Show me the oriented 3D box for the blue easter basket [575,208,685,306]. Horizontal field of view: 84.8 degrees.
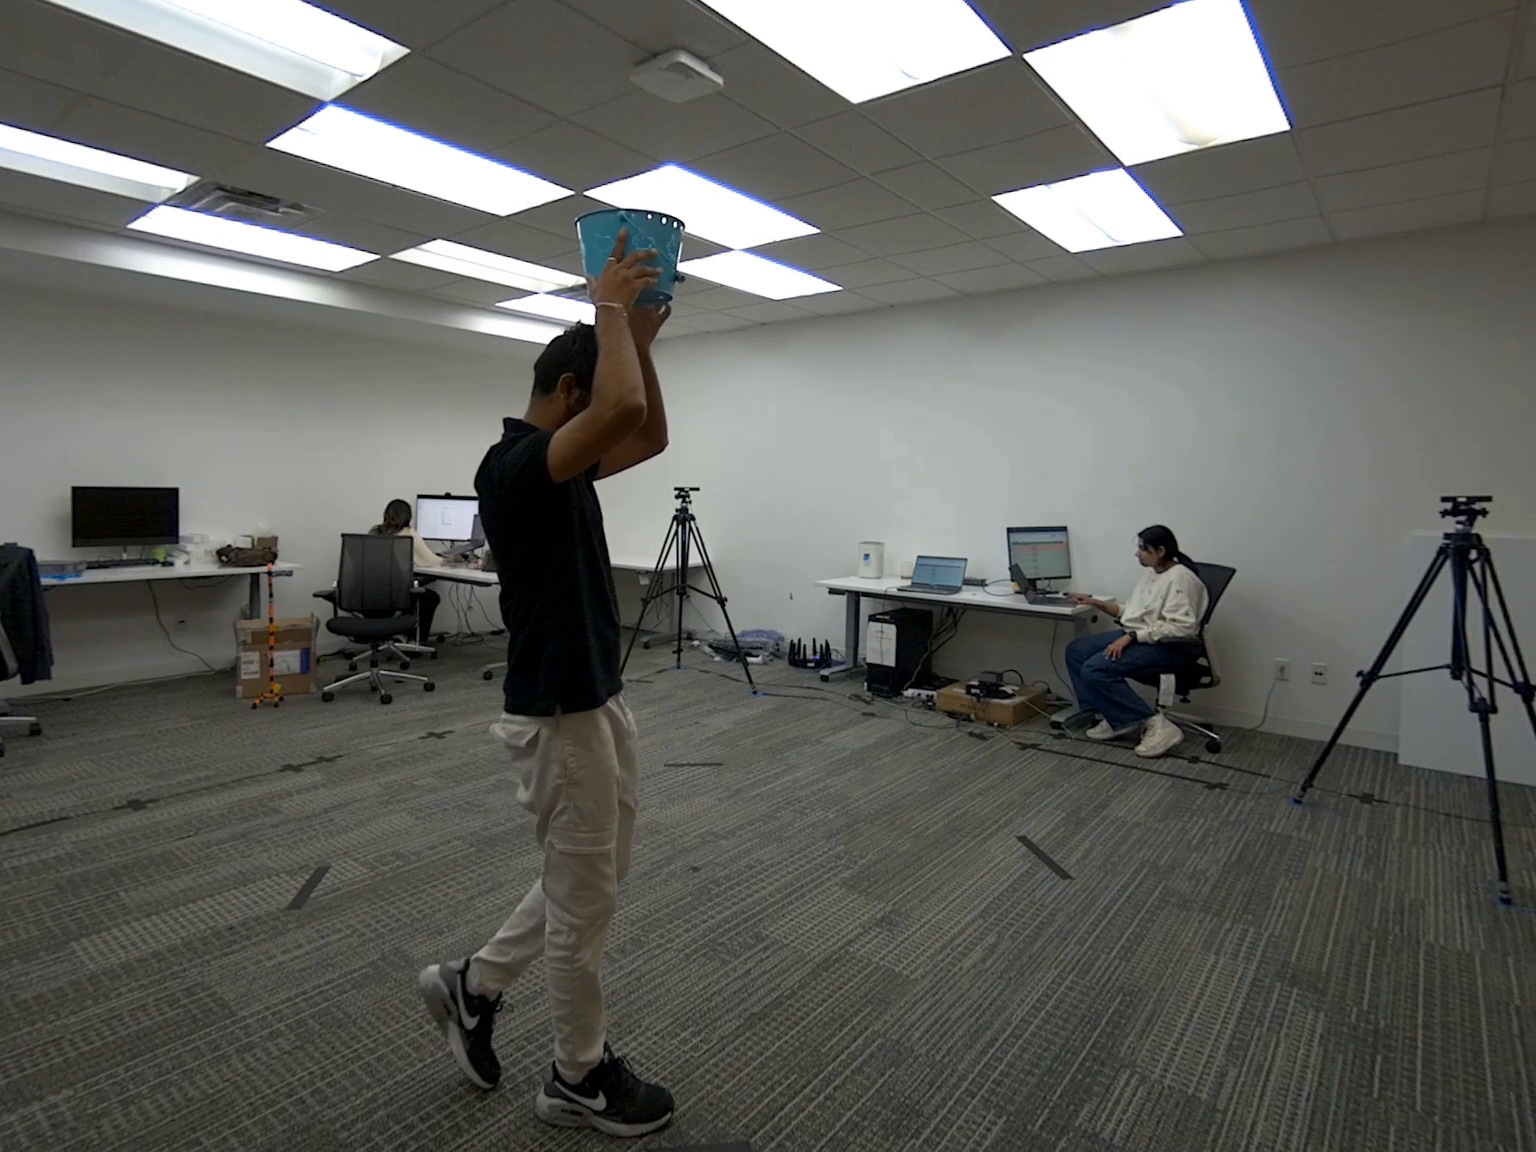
[{"bbox_3d":[-0.298,-0.668,1.795,0.243,0.155,0.246,-1,9,-2],"label":"blue easter basket"}]
